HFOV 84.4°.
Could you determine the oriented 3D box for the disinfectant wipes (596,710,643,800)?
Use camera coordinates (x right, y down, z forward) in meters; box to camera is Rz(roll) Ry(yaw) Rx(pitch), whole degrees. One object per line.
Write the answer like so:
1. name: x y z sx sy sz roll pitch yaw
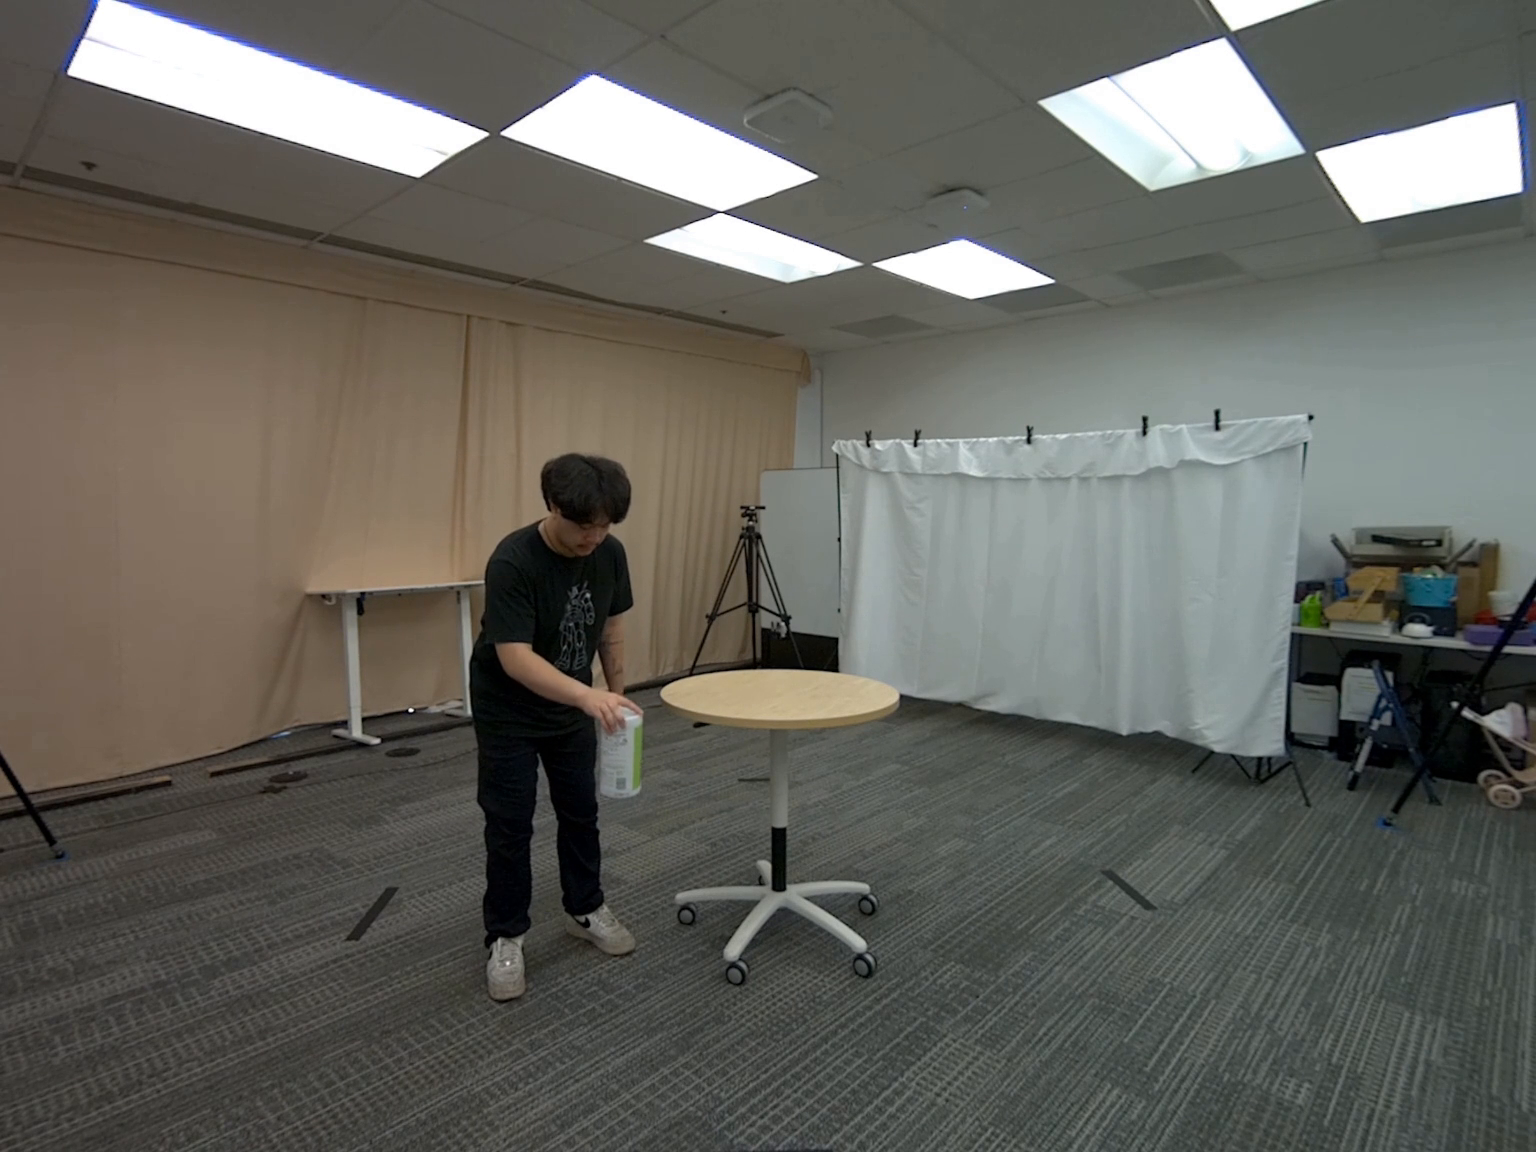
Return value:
1. disinfectant wipes: -0.386 0.453 2.172 0.117 0.216 0.118 4 8 -2
